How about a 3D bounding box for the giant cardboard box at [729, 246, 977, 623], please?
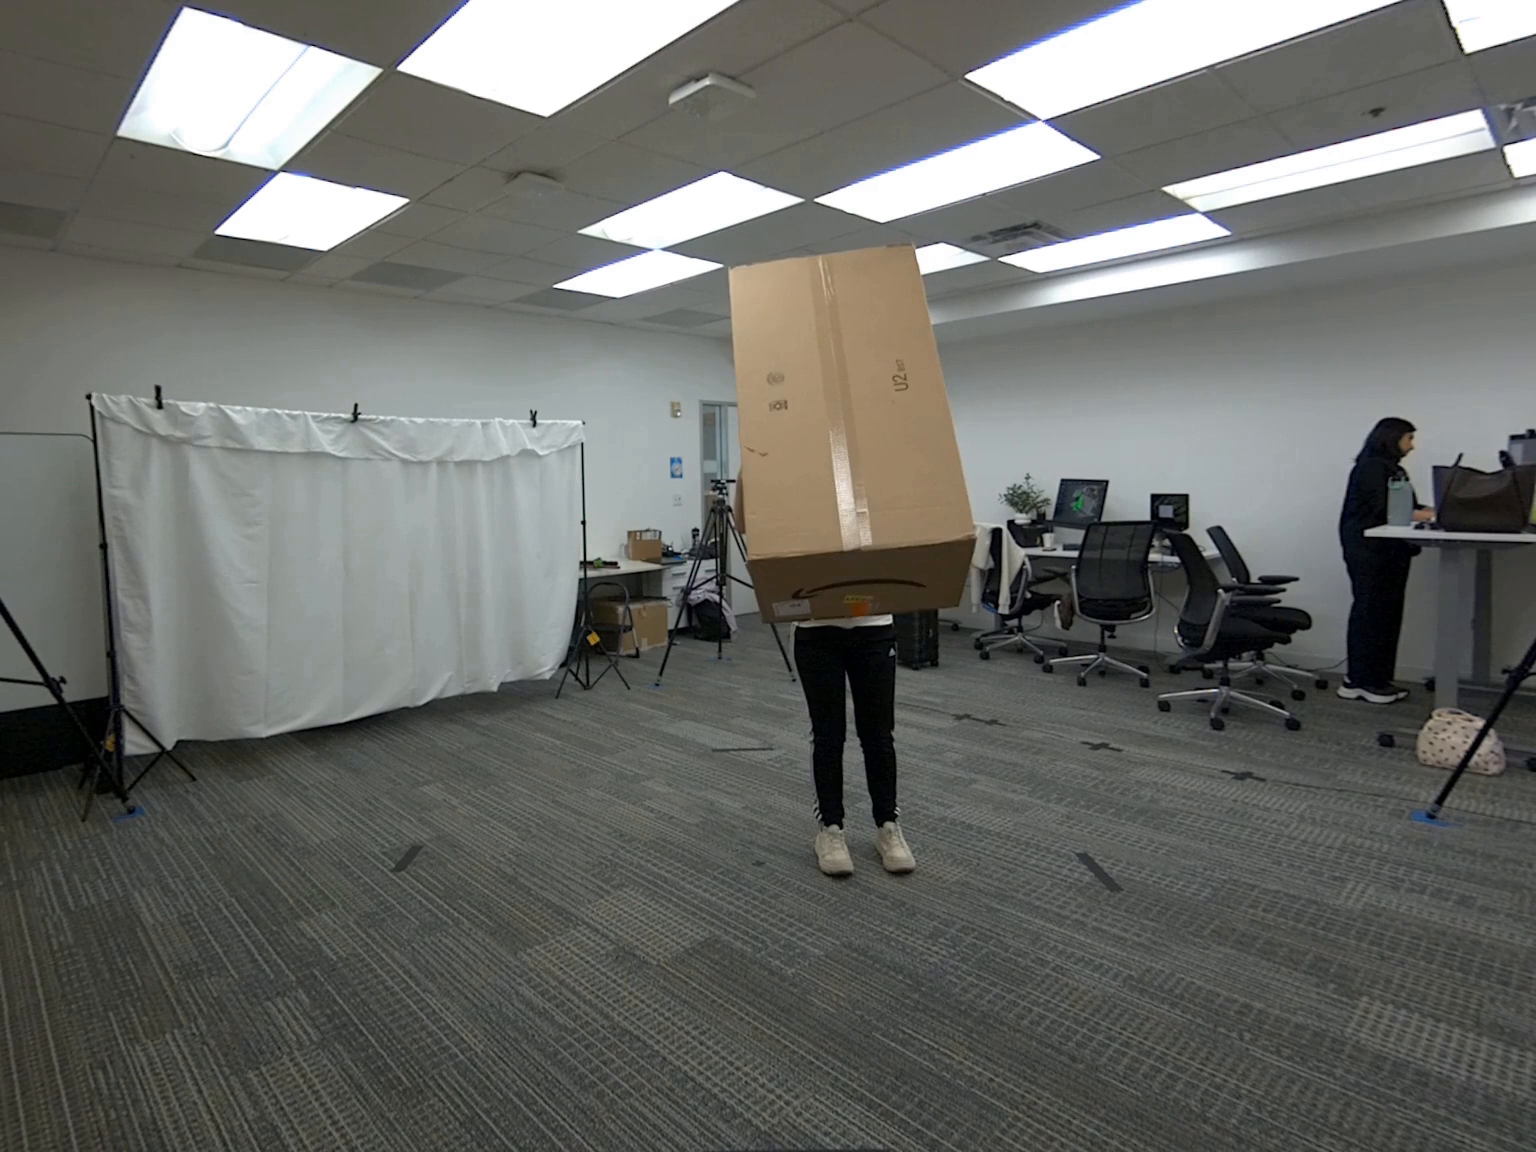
[{"bbox_3d":[0.220,-0.416,2.538,0.587,1.051,0.434,-6,-27,4],"label":"giant cardboard box"}]
